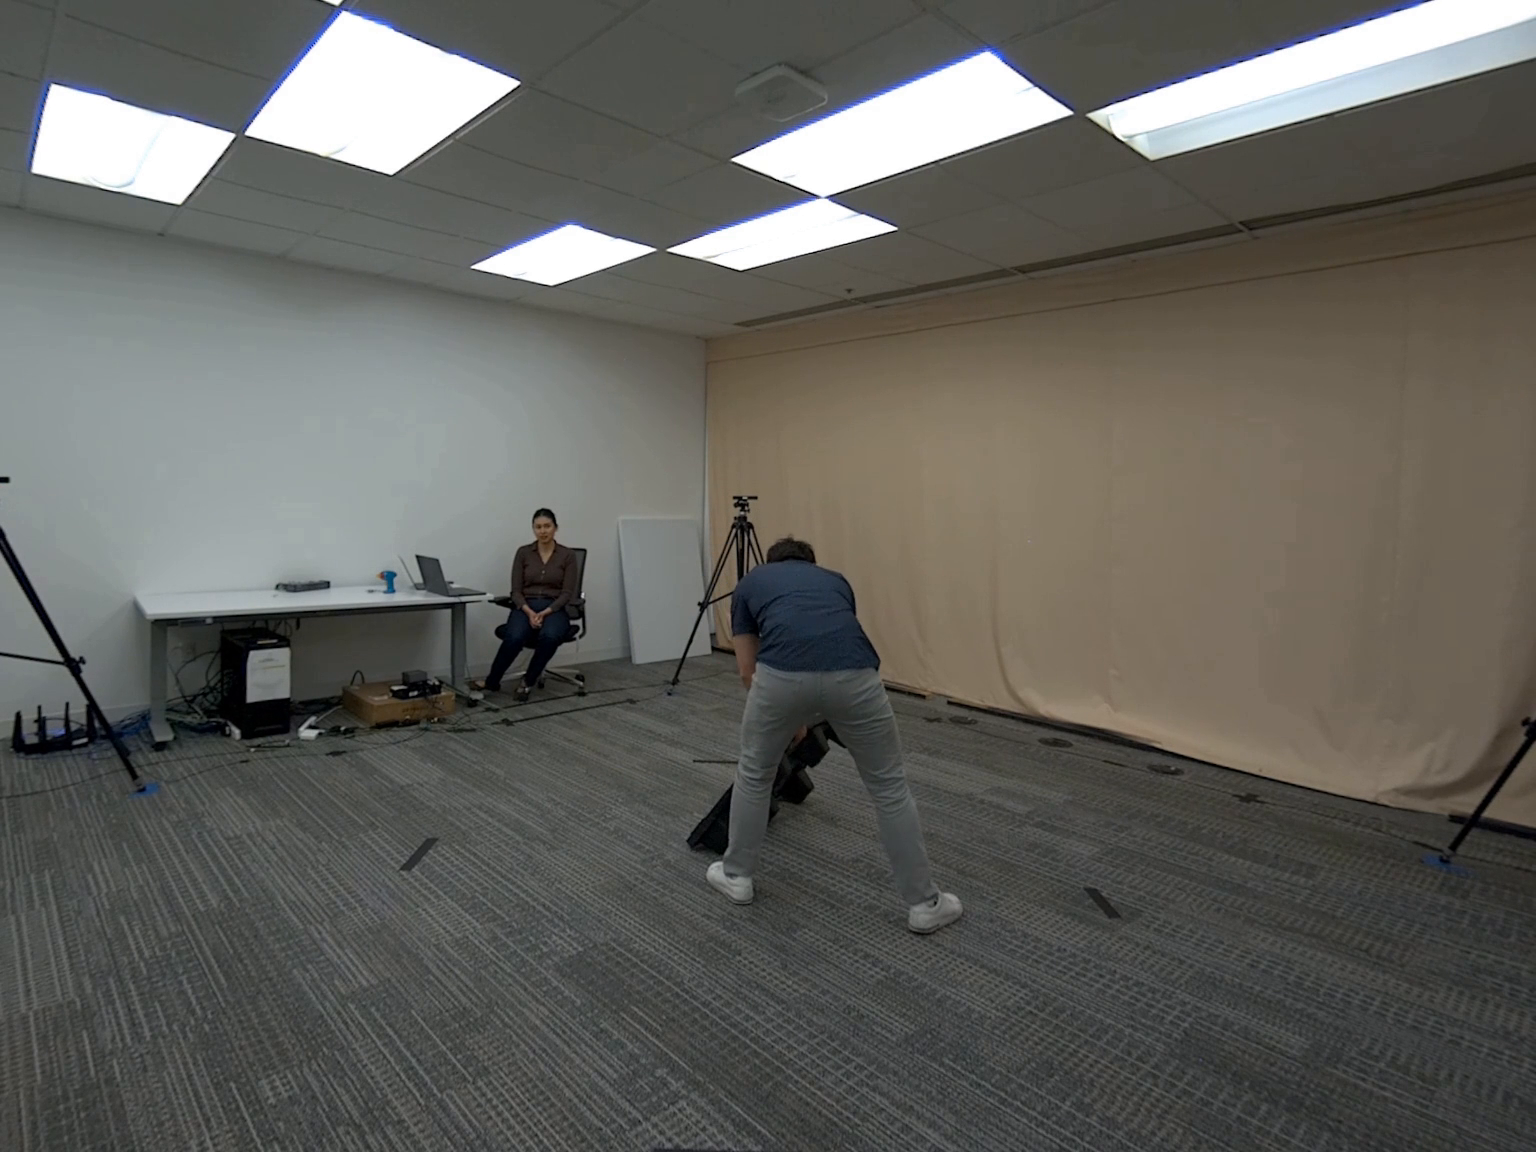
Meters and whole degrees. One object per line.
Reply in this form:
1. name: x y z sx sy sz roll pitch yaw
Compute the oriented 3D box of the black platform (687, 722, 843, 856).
1. black platform: 0.065 0.839 3.521 0.146 0.603 0.790 44 22 19
